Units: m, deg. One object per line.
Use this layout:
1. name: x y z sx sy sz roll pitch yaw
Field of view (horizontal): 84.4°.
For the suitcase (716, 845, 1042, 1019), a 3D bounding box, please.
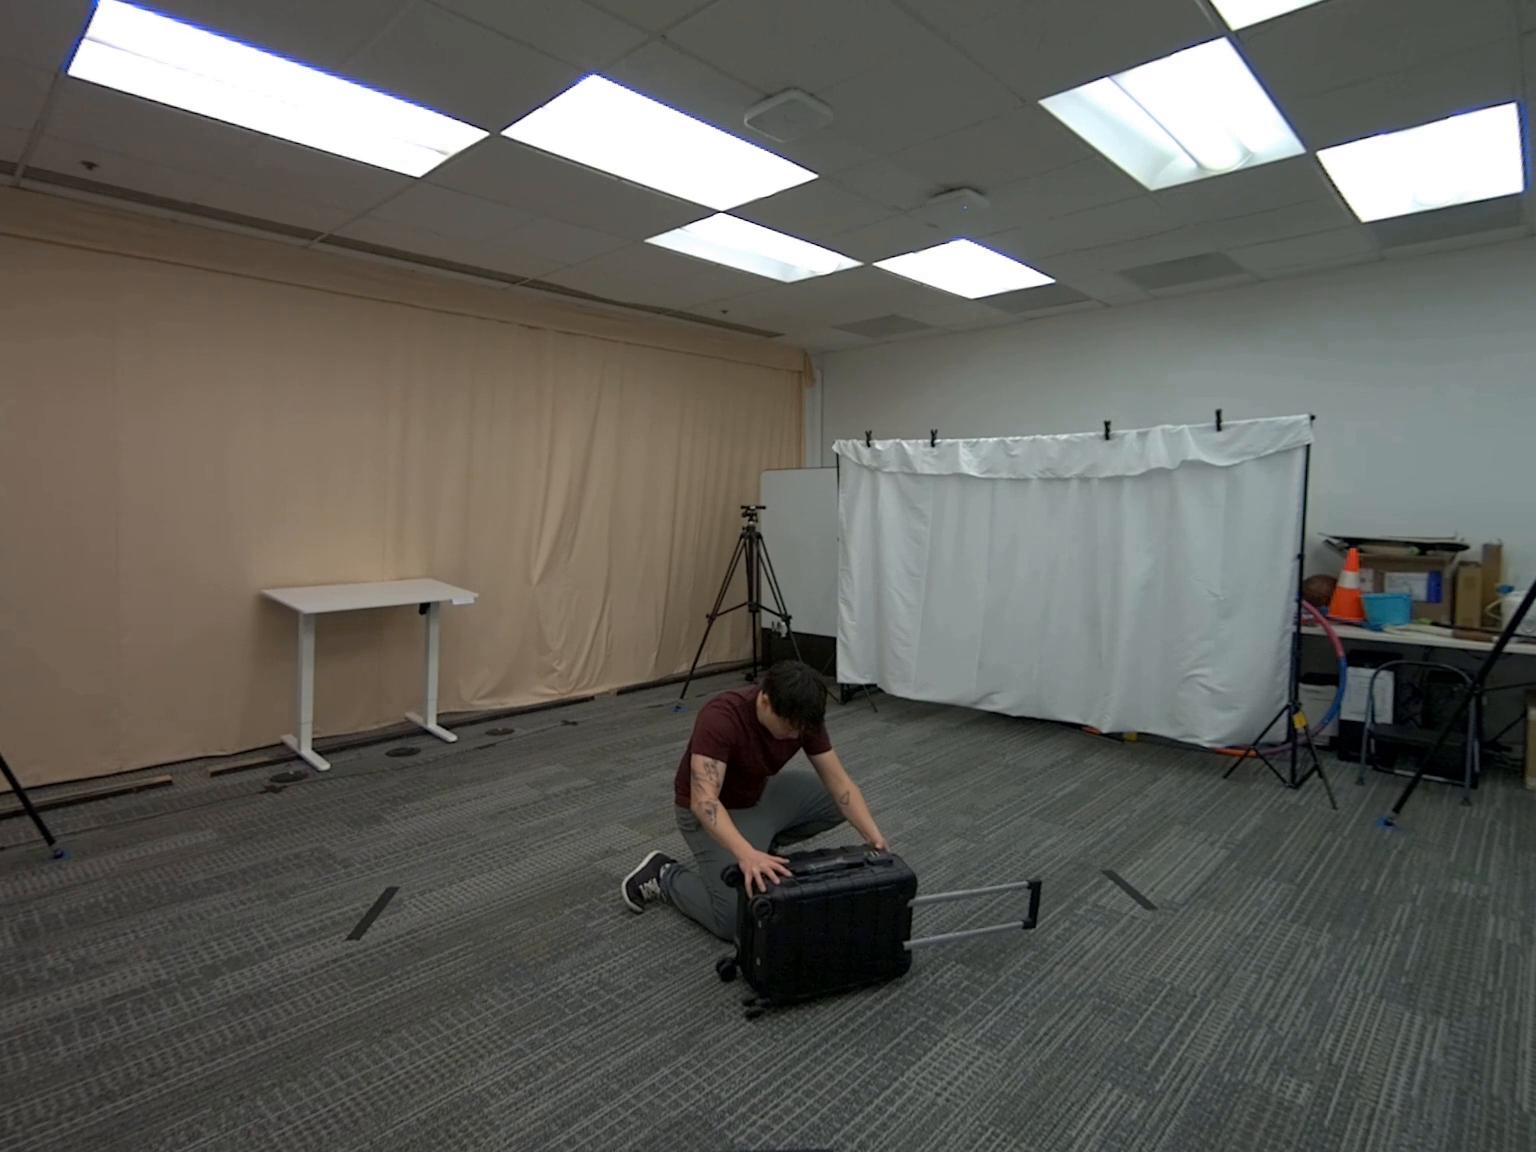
1. suitcase: 0.347 0.990 2.537 0.956 0.382 0.264 -2 8 -23
